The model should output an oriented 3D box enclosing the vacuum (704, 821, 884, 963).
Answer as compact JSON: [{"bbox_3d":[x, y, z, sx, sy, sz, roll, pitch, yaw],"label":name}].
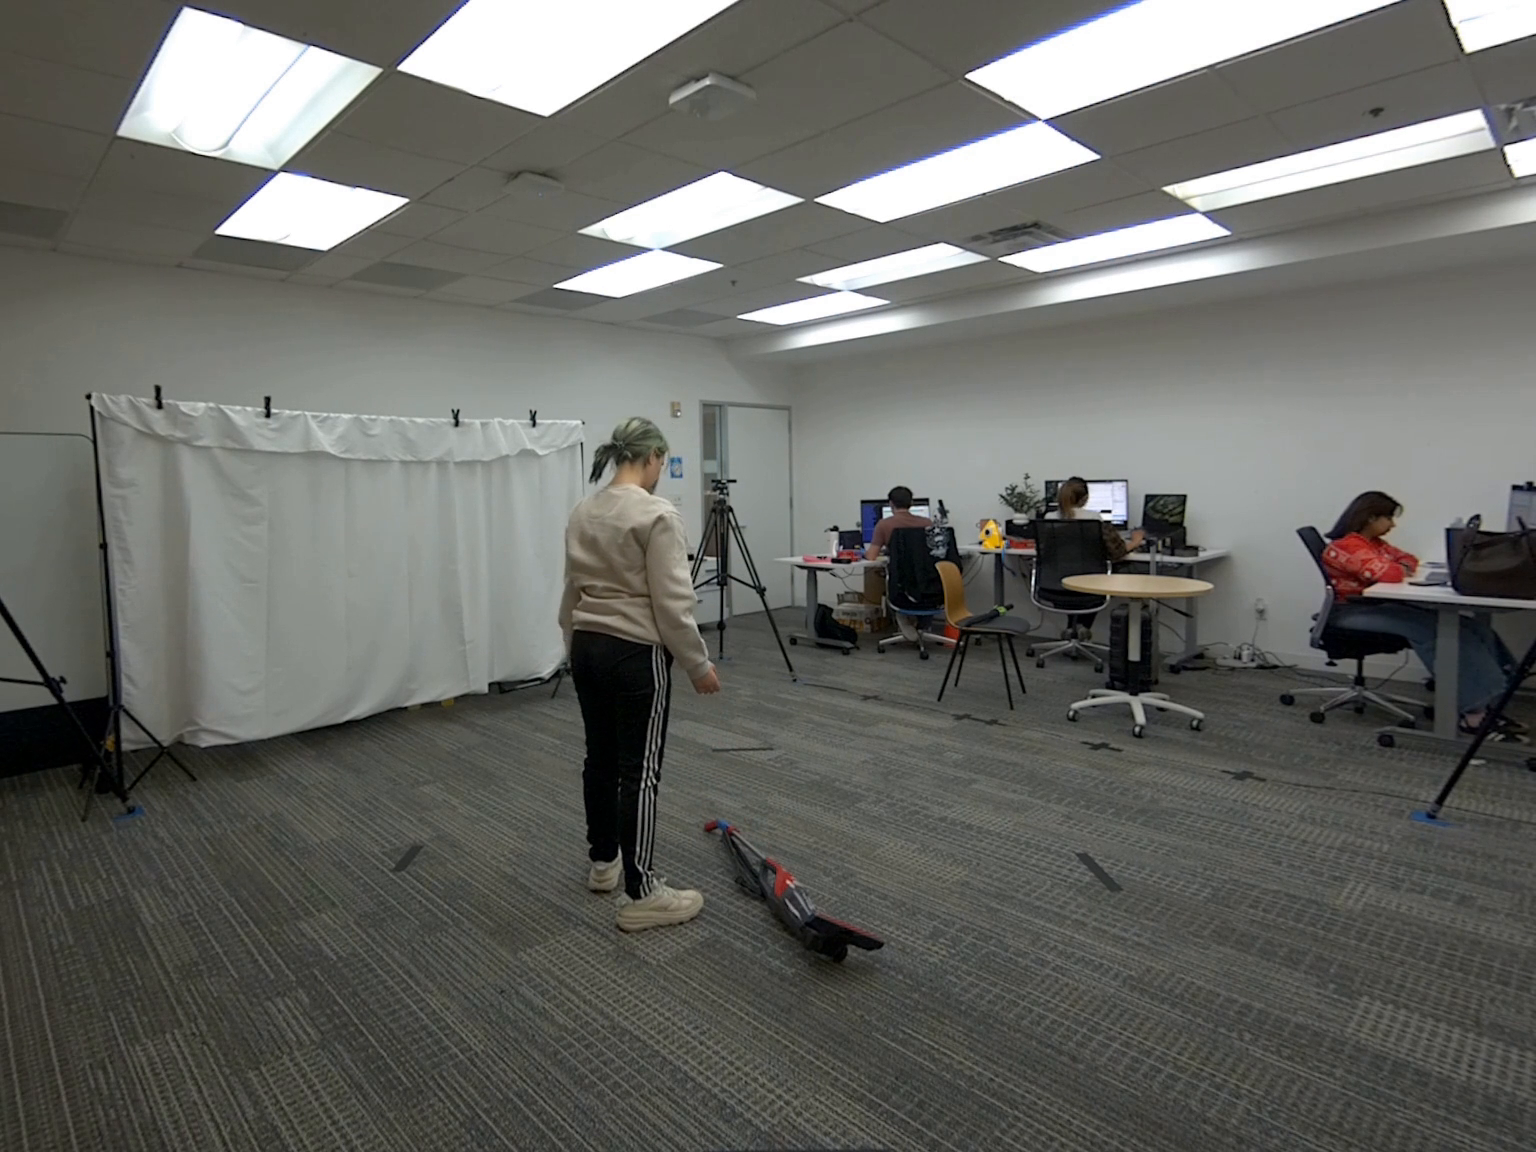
[{"bbox_3d":[-0.022,1.021,2.915,0.247,0.144,1.070,31,-11,-20],"label":"vacuum"}]
